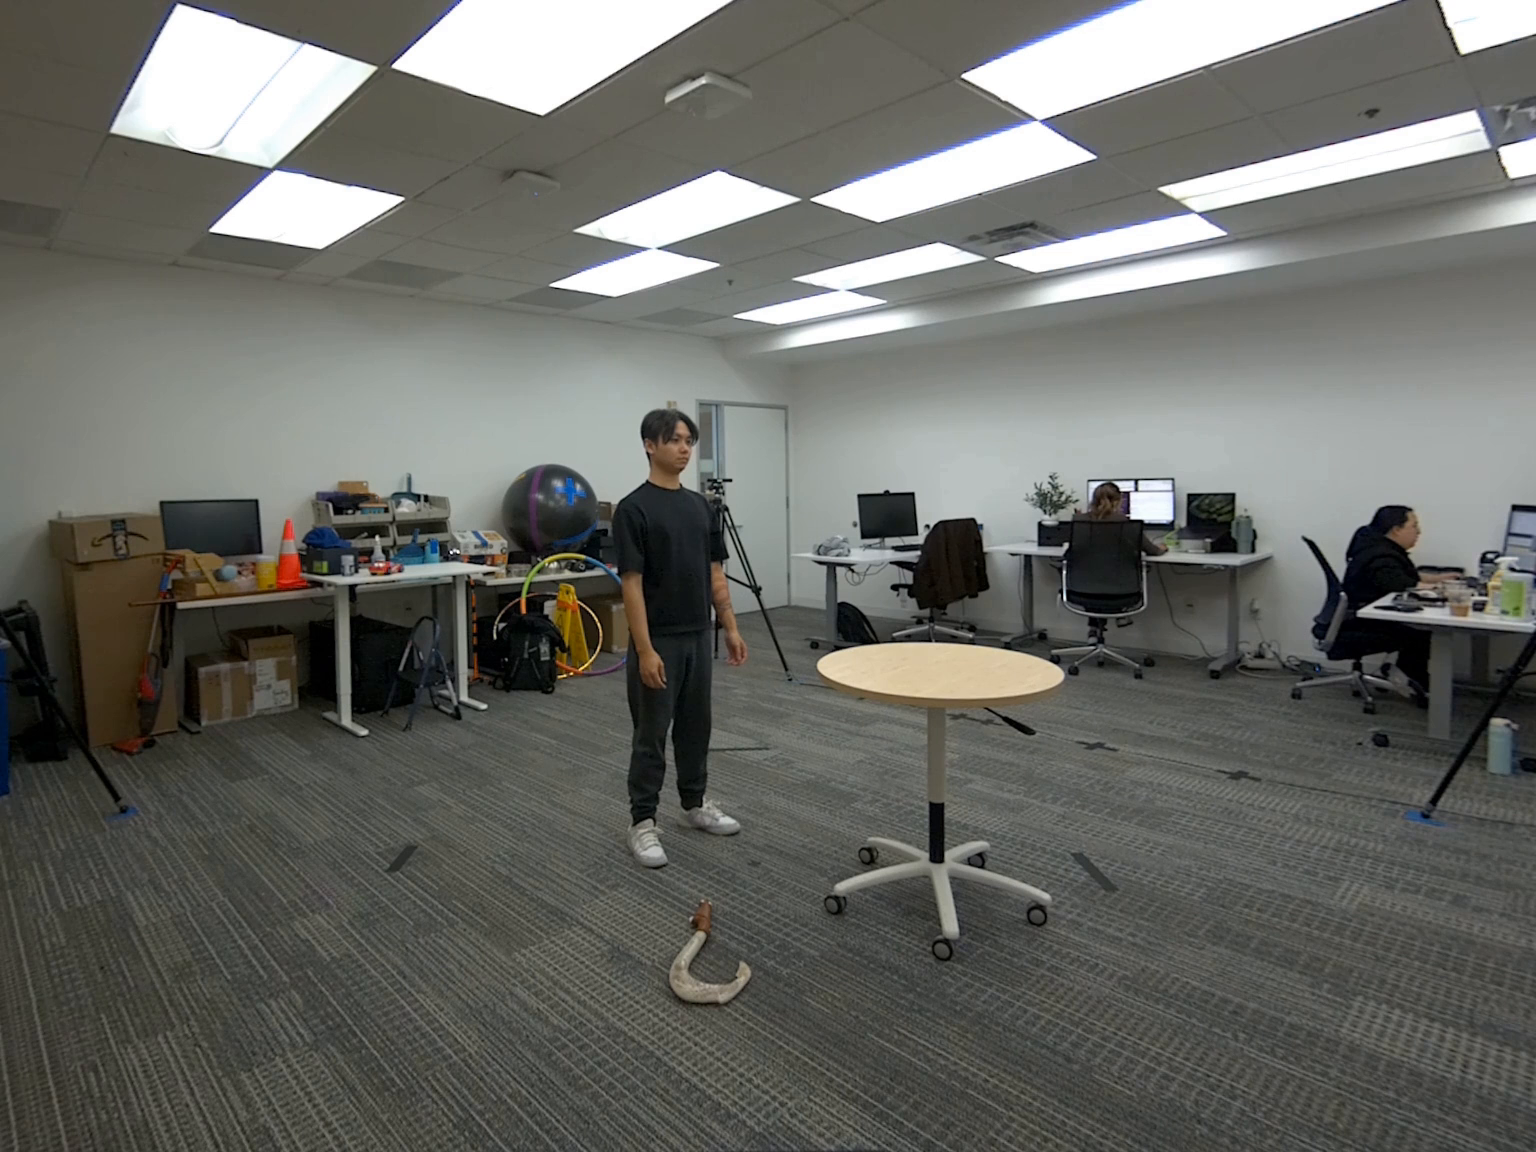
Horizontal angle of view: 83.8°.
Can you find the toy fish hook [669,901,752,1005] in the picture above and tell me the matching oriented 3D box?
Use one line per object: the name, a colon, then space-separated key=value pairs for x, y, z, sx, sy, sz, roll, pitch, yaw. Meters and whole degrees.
toy fish hook: x=-0.158 y=1.104 z=2.519 sx=0.225 sy=0.048 sz=0.508 roll=7 pitch=8 yaw=1
